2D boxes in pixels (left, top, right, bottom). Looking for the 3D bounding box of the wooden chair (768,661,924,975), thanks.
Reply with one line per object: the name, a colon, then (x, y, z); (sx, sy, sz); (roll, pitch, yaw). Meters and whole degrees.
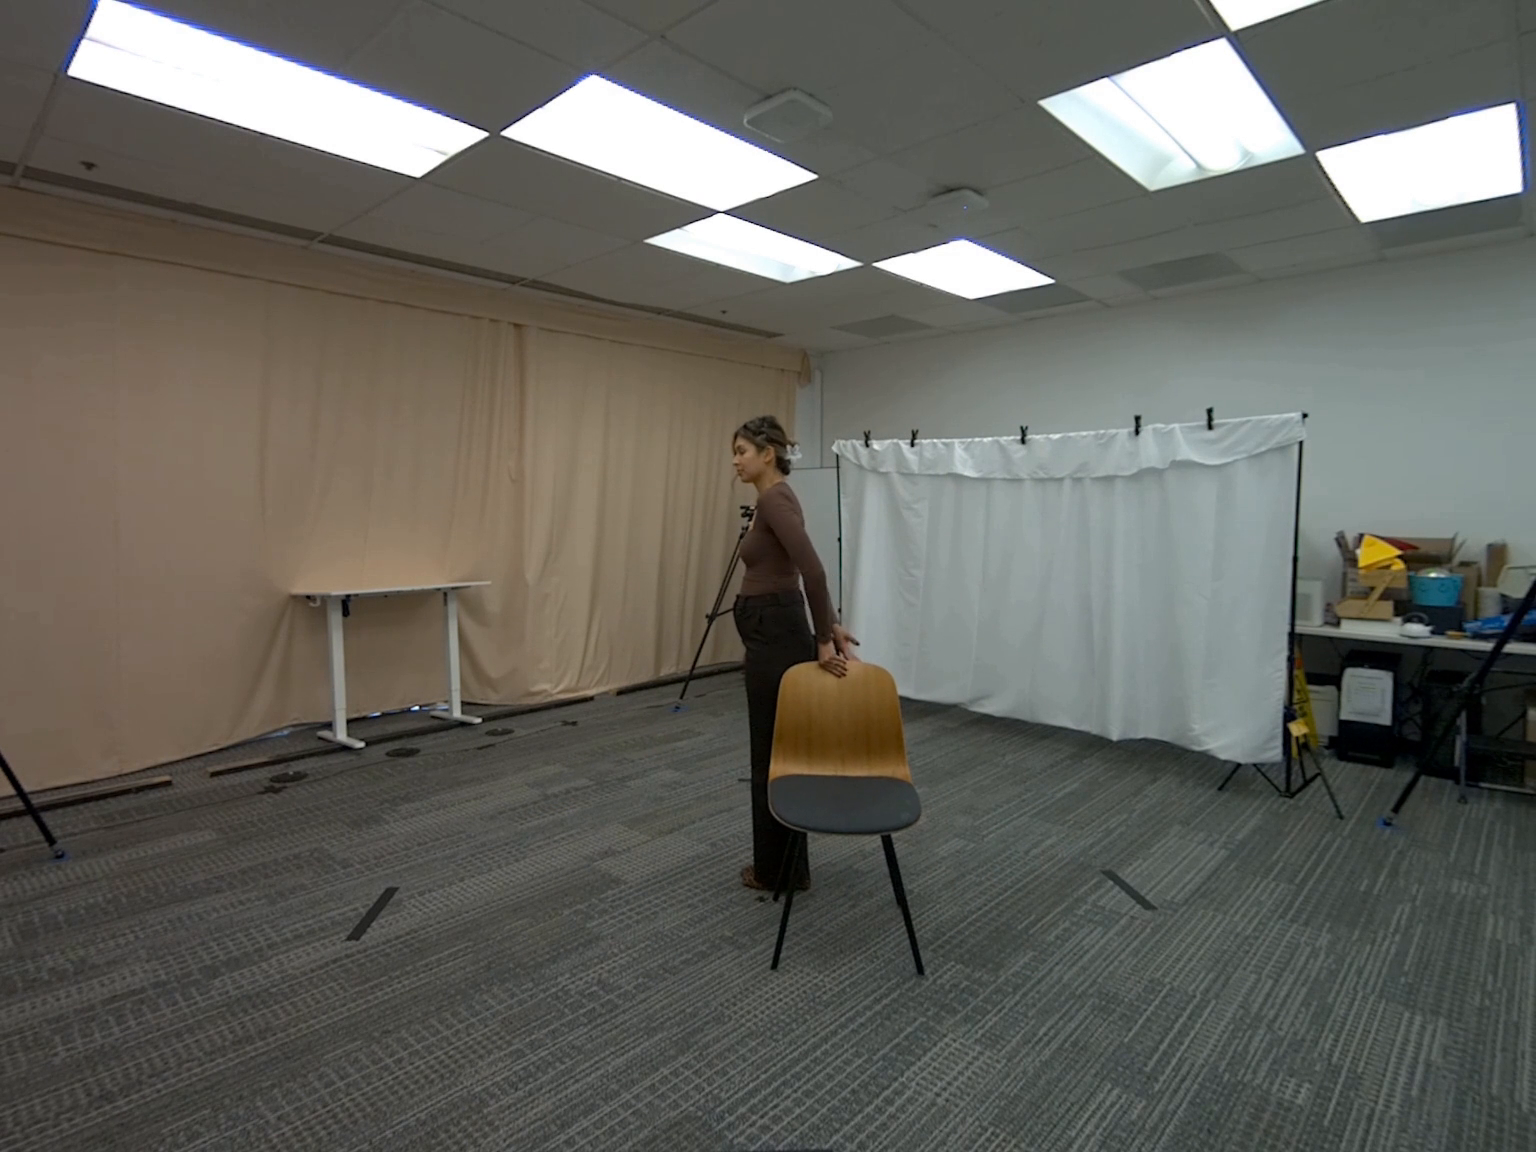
wooden chair: (0.244, 0.741, 2.685); (0.481, 0.877, 0.520); (0, 0, 4)
